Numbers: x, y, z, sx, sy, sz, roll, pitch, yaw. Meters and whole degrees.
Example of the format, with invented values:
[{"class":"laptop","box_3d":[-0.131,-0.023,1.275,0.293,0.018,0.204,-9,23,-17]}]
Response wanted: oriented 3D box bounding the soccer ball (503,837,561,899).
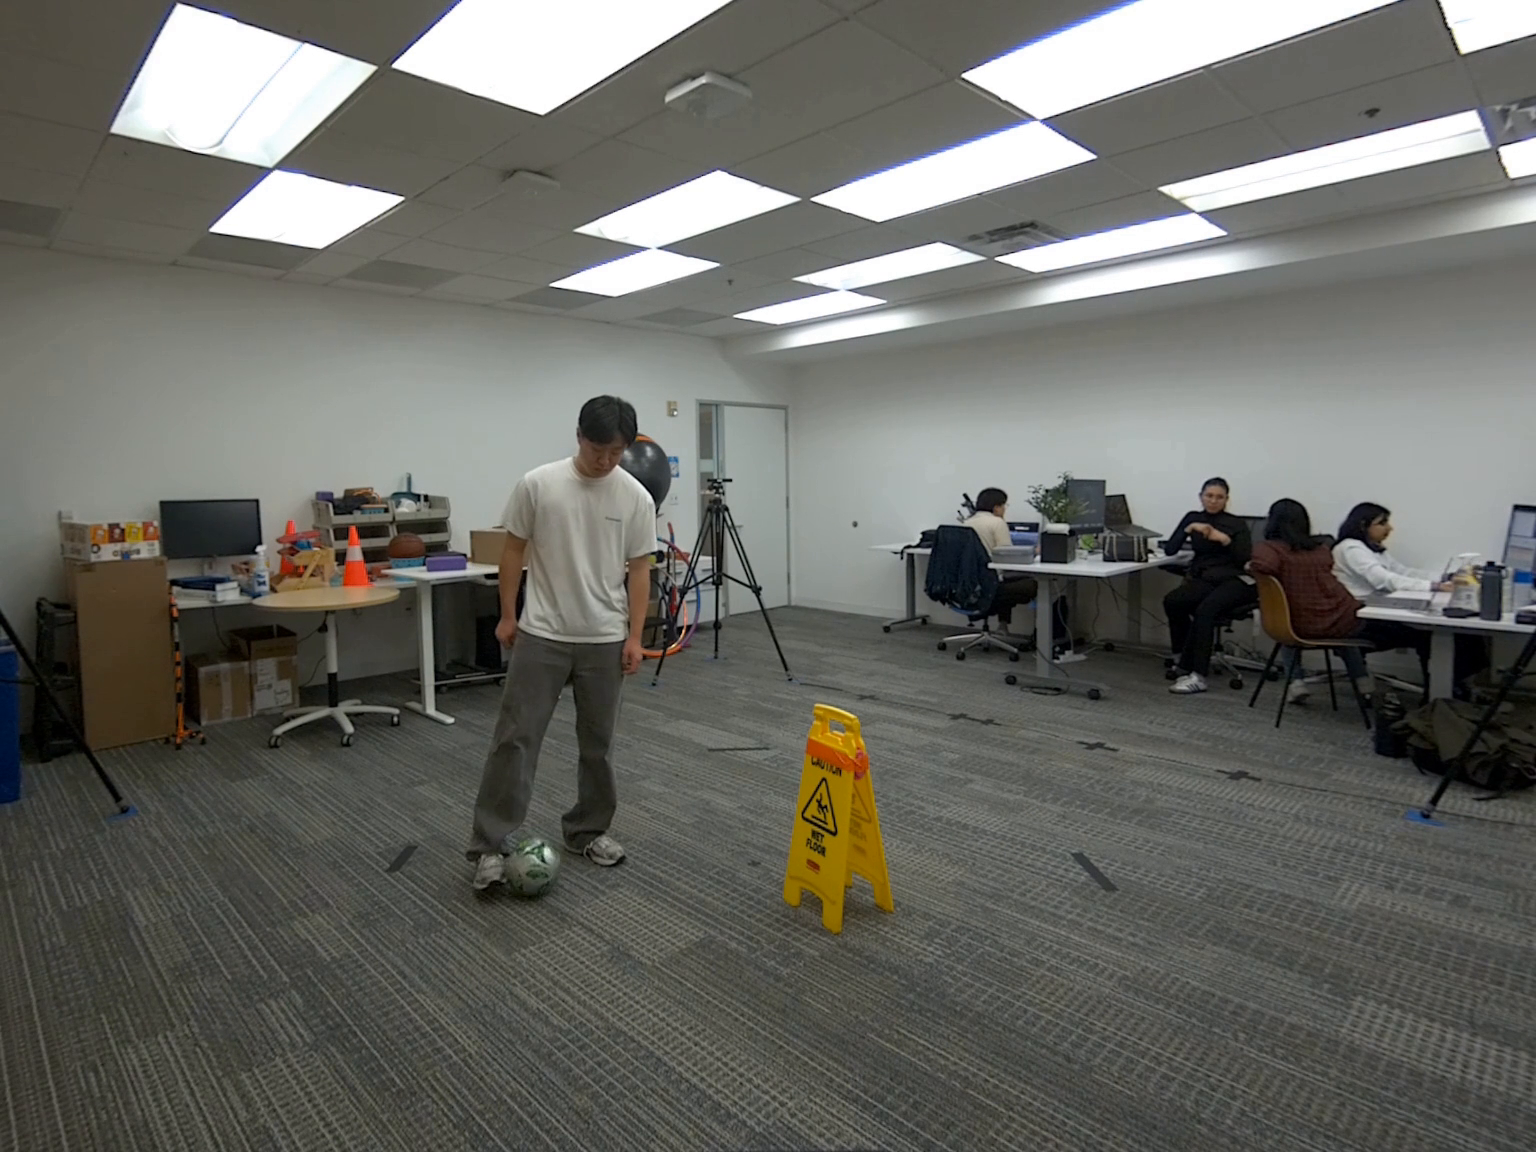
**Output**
[{"class":"soccer ball","box_3d":[-0.793,0.990,2.920,0.187,0.187,0.188,-1,5,-2]}]
